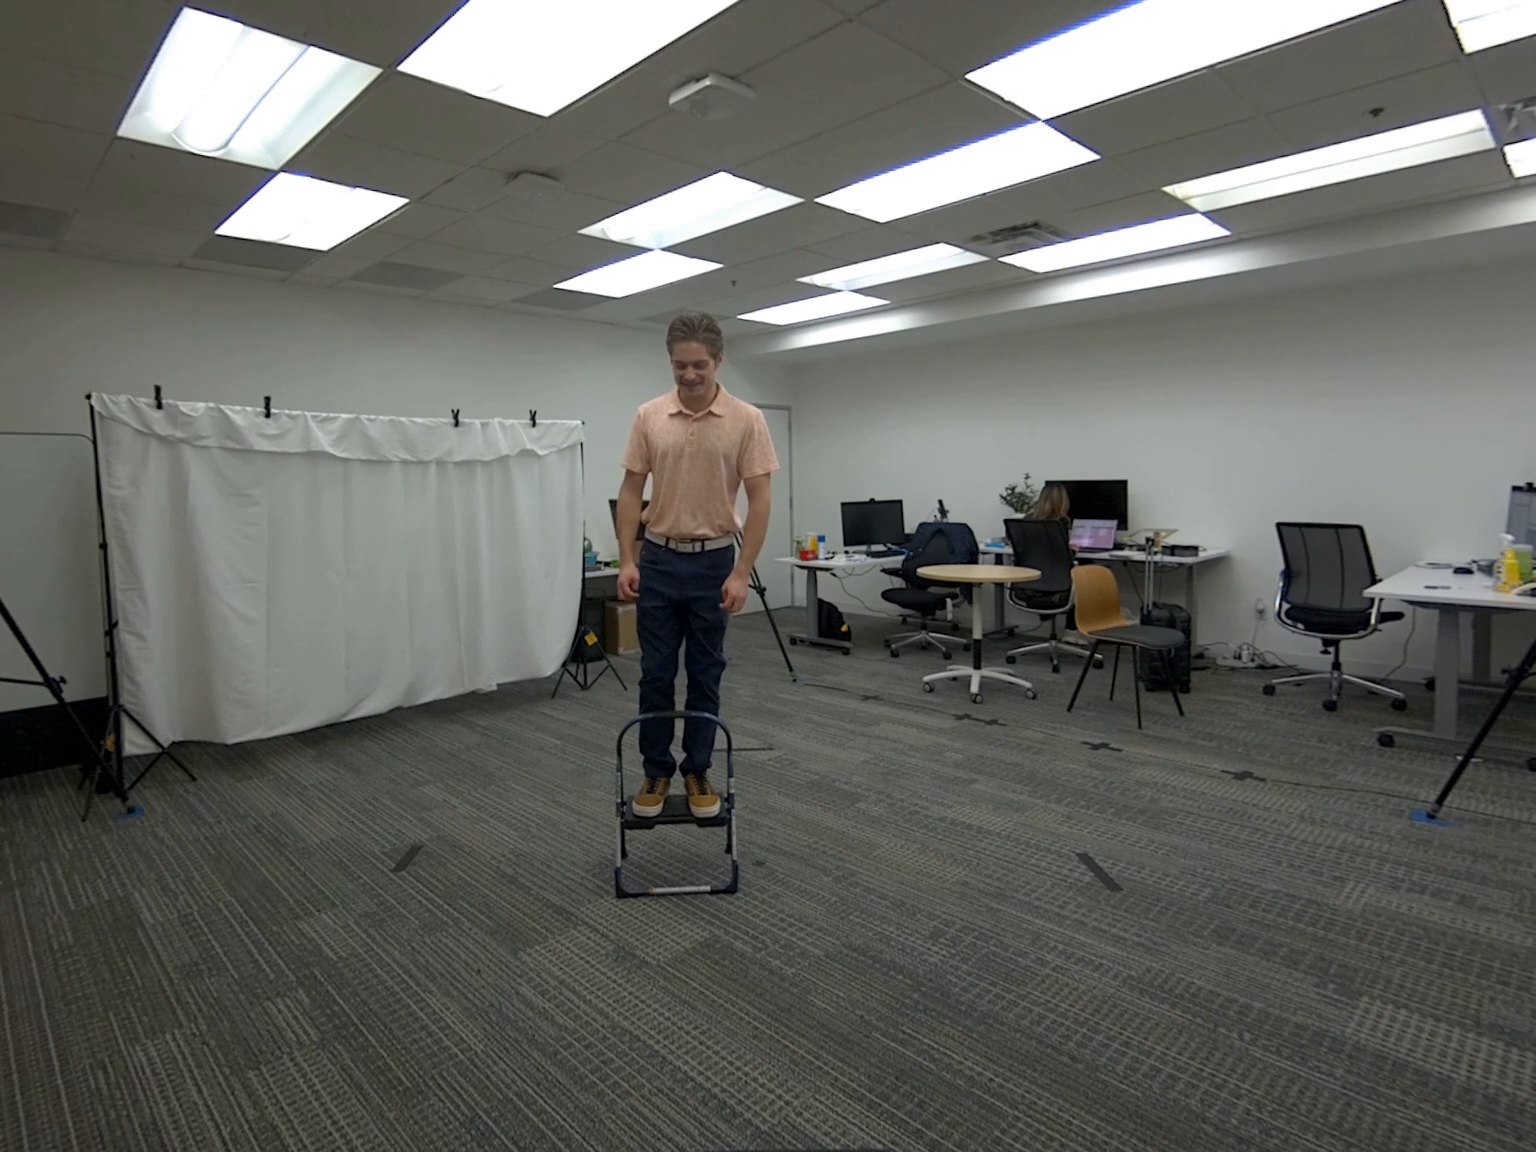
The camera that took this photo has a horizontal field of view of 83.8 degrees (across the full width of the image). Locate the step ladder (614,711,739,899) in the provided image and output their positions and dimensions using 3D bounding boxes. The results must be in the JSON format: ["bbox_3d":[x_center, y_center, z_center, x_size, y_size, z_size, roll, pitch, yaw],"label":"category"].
[{"bbox_3d":[-0.328,0.763,3.023,0.429,0.604,0.352,-2,4,-5],"label":"step ladder"}]
